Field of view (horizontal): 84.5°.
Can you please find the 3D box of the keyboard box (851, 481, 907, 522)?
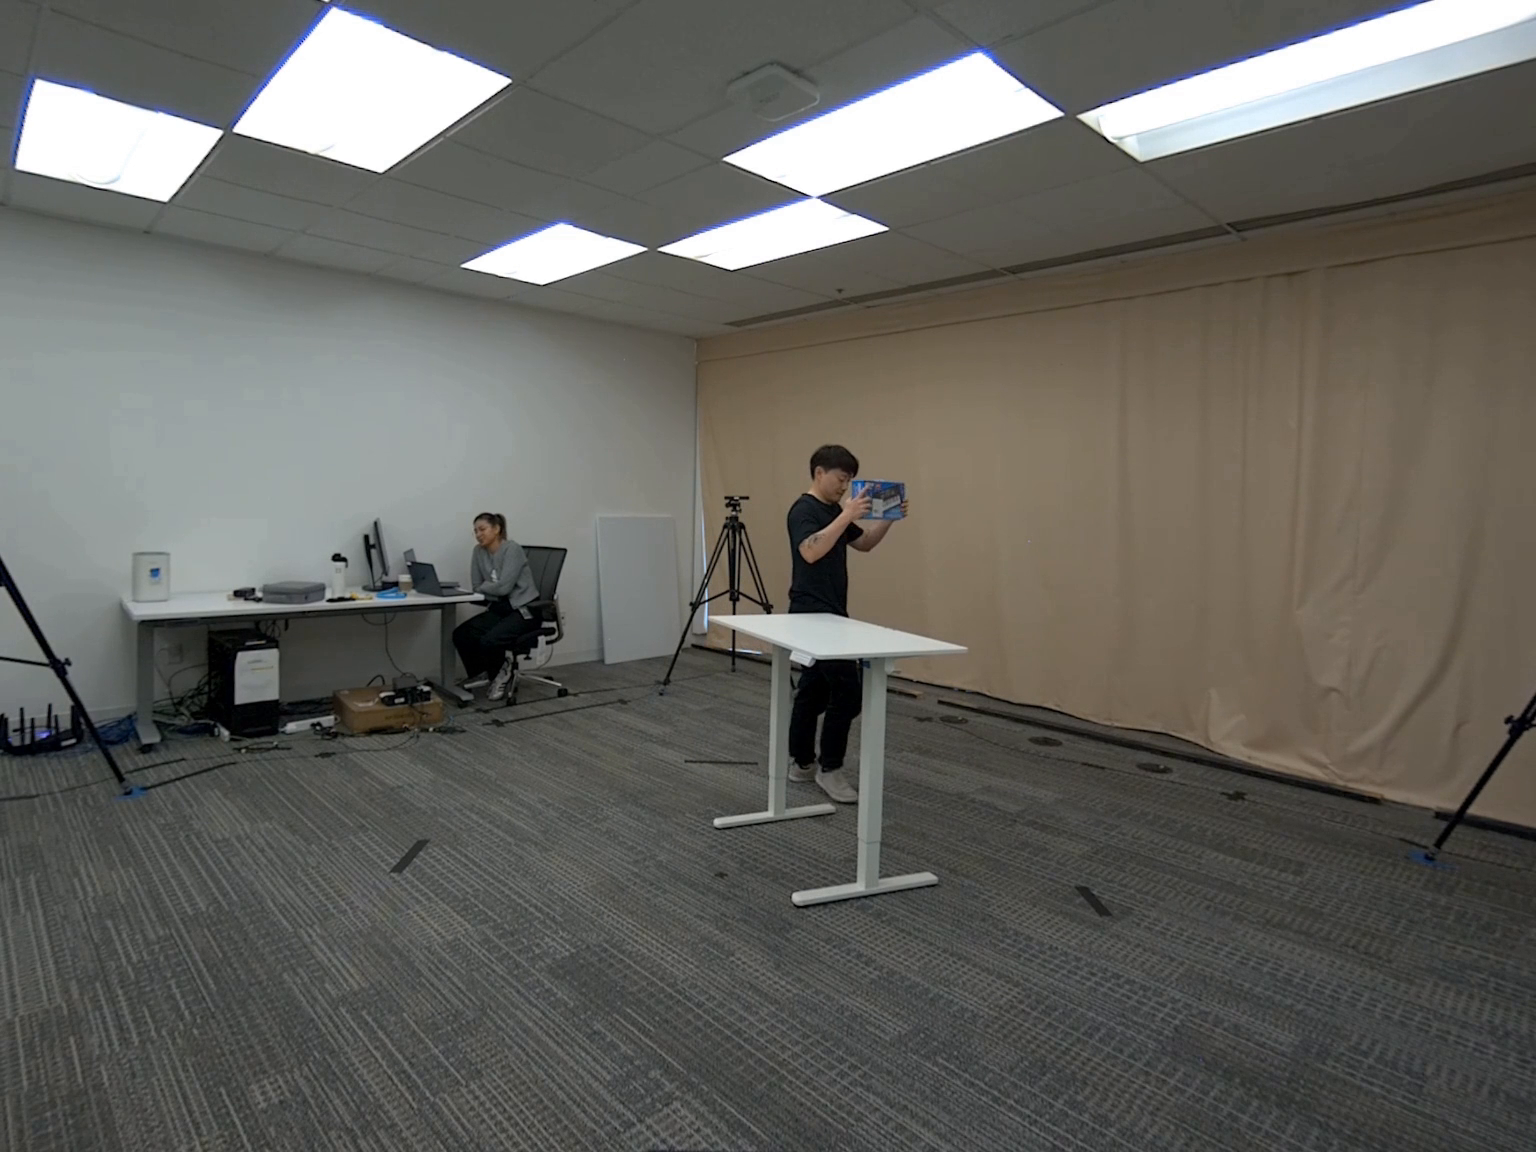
[{"bbox_3d":[0.511,-0.345,3.900,0.060,0.175,0.428,5,6,33],"label":"keyboard box"}]
